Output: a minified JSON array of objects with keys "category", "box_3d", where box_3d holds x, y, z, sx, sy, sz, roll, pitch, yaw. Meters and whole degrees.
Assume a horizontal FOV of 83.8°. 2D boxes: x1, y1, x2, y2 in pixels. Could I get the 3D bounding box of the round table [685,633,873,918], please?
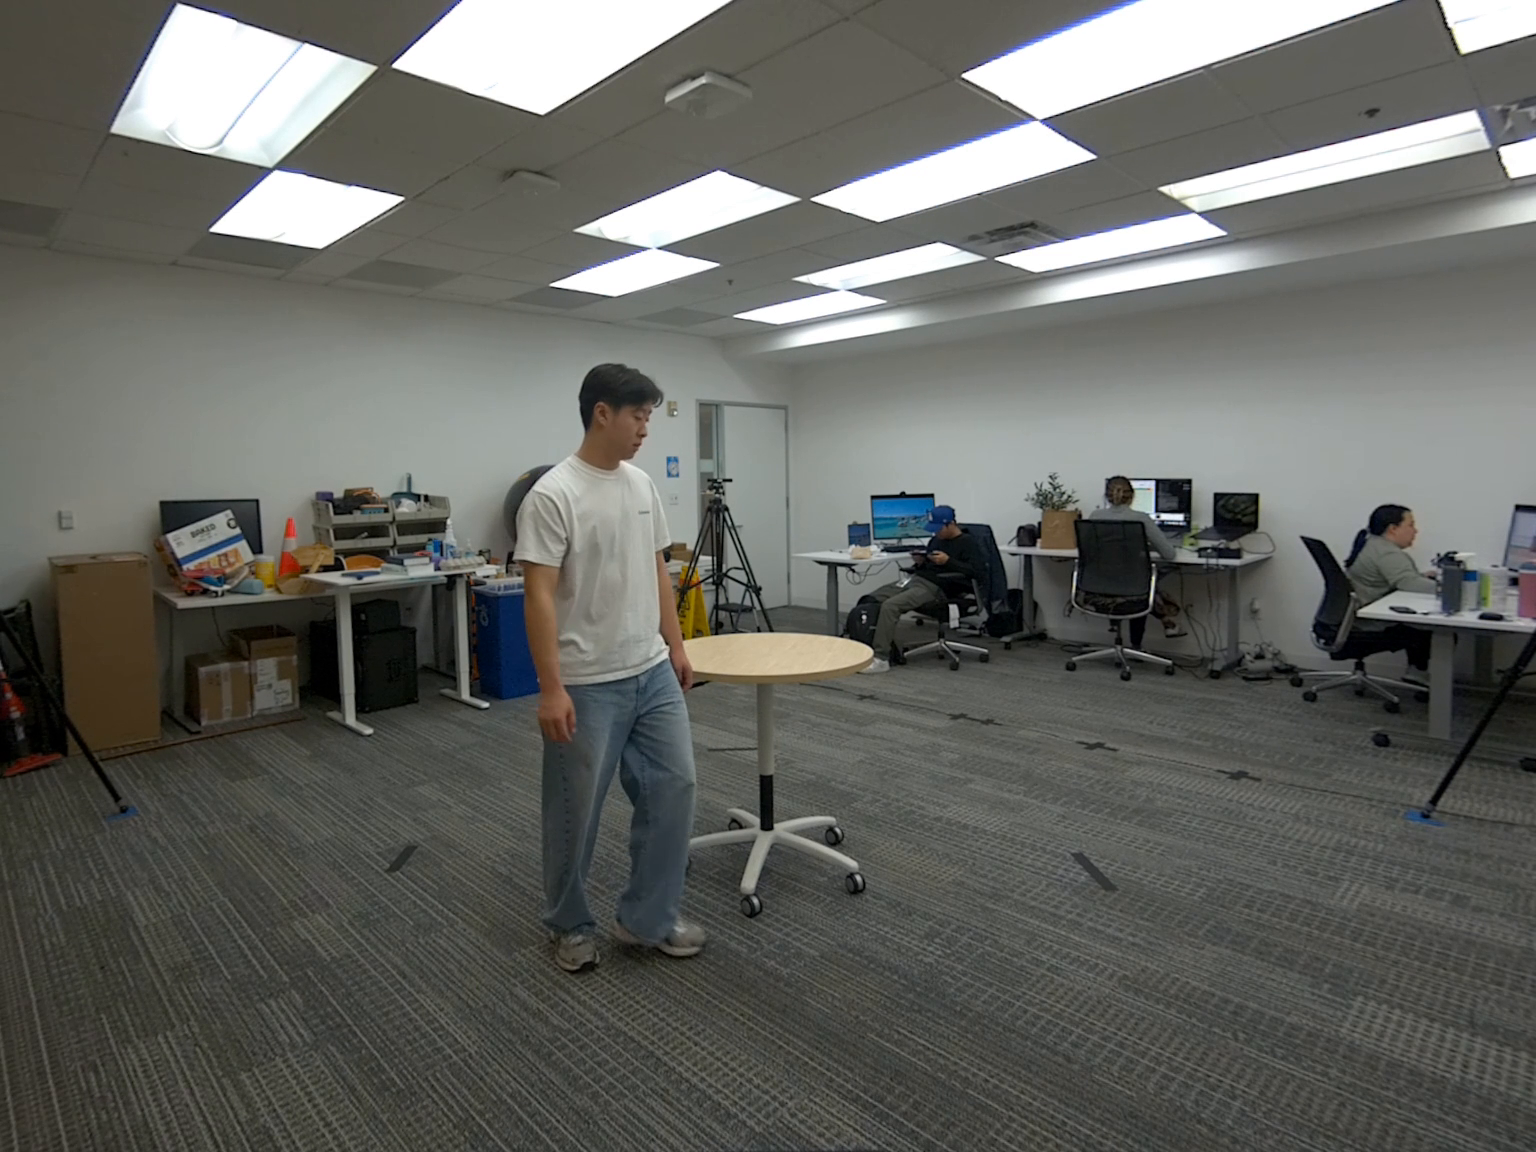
[{"category":"round table","box_3d":[-0.006,0.661,3.056,0.763,0.791,0.768,-1,5,-2]}]
